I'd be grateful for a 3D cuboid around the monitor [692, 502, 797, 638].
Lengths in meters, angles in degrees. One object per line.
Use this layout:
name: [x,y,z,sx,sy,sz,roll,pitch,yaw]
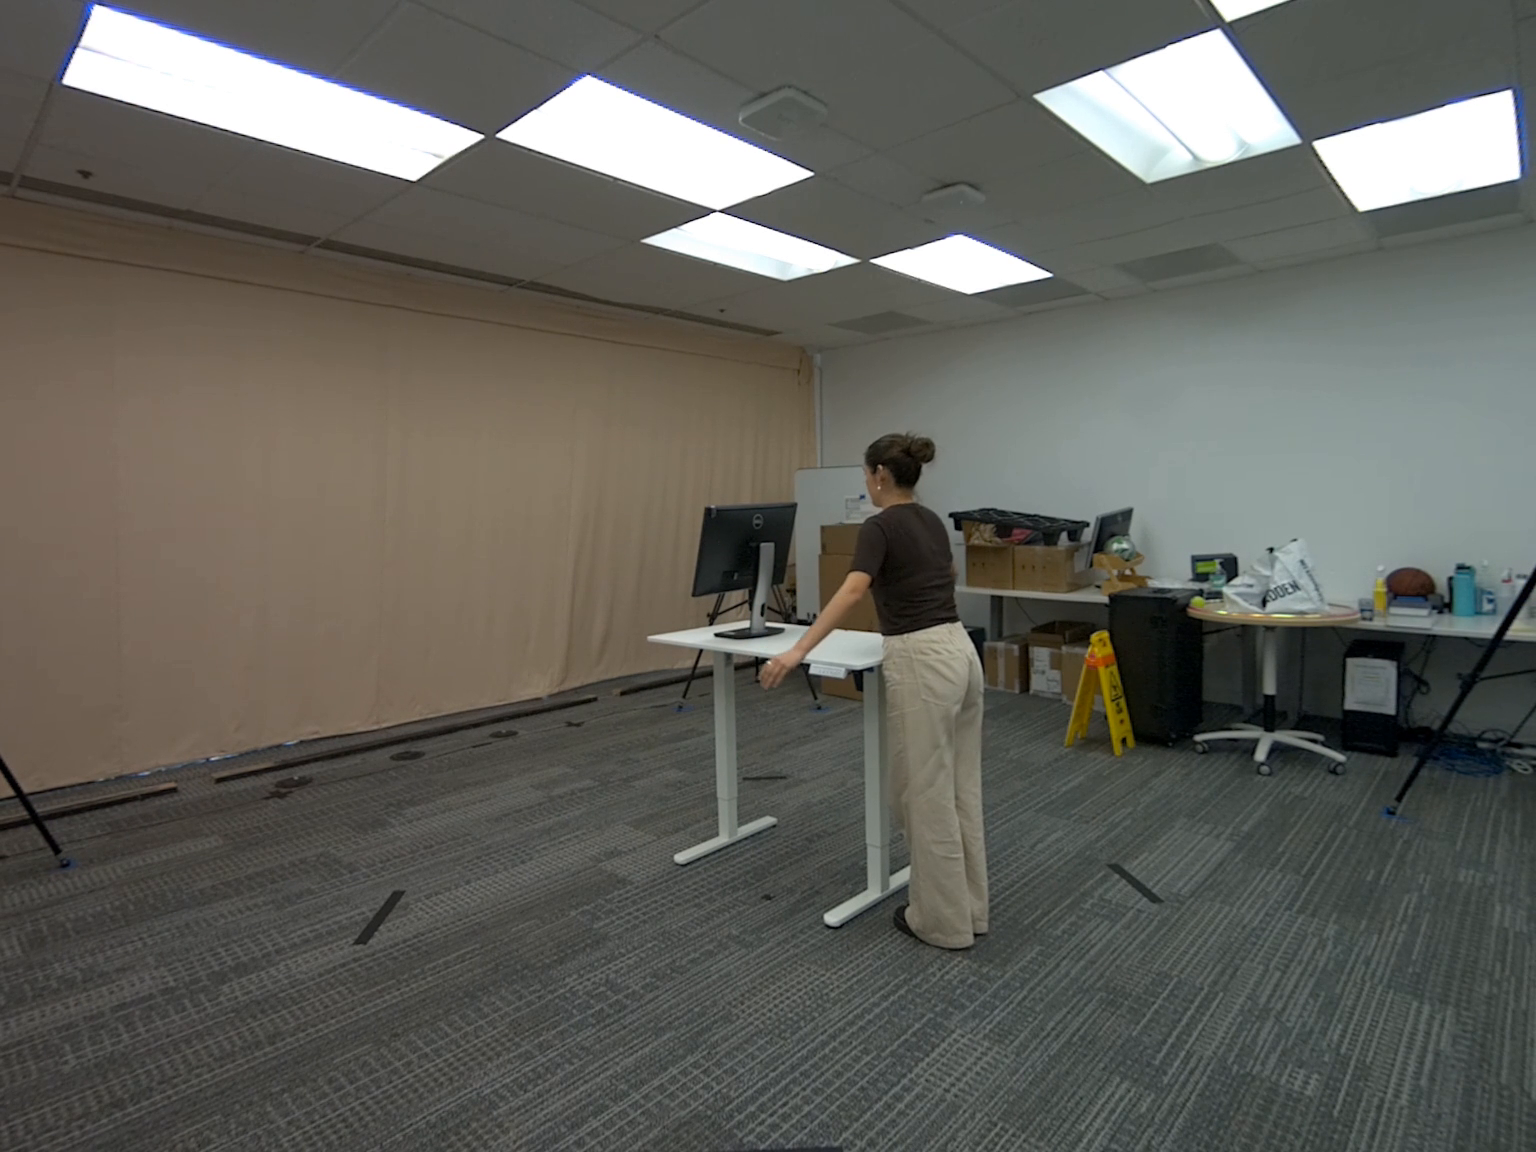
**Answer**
monitor: [-0.060,-0.025,3.312,0.180,0.515,0.514,-2,4,41]
